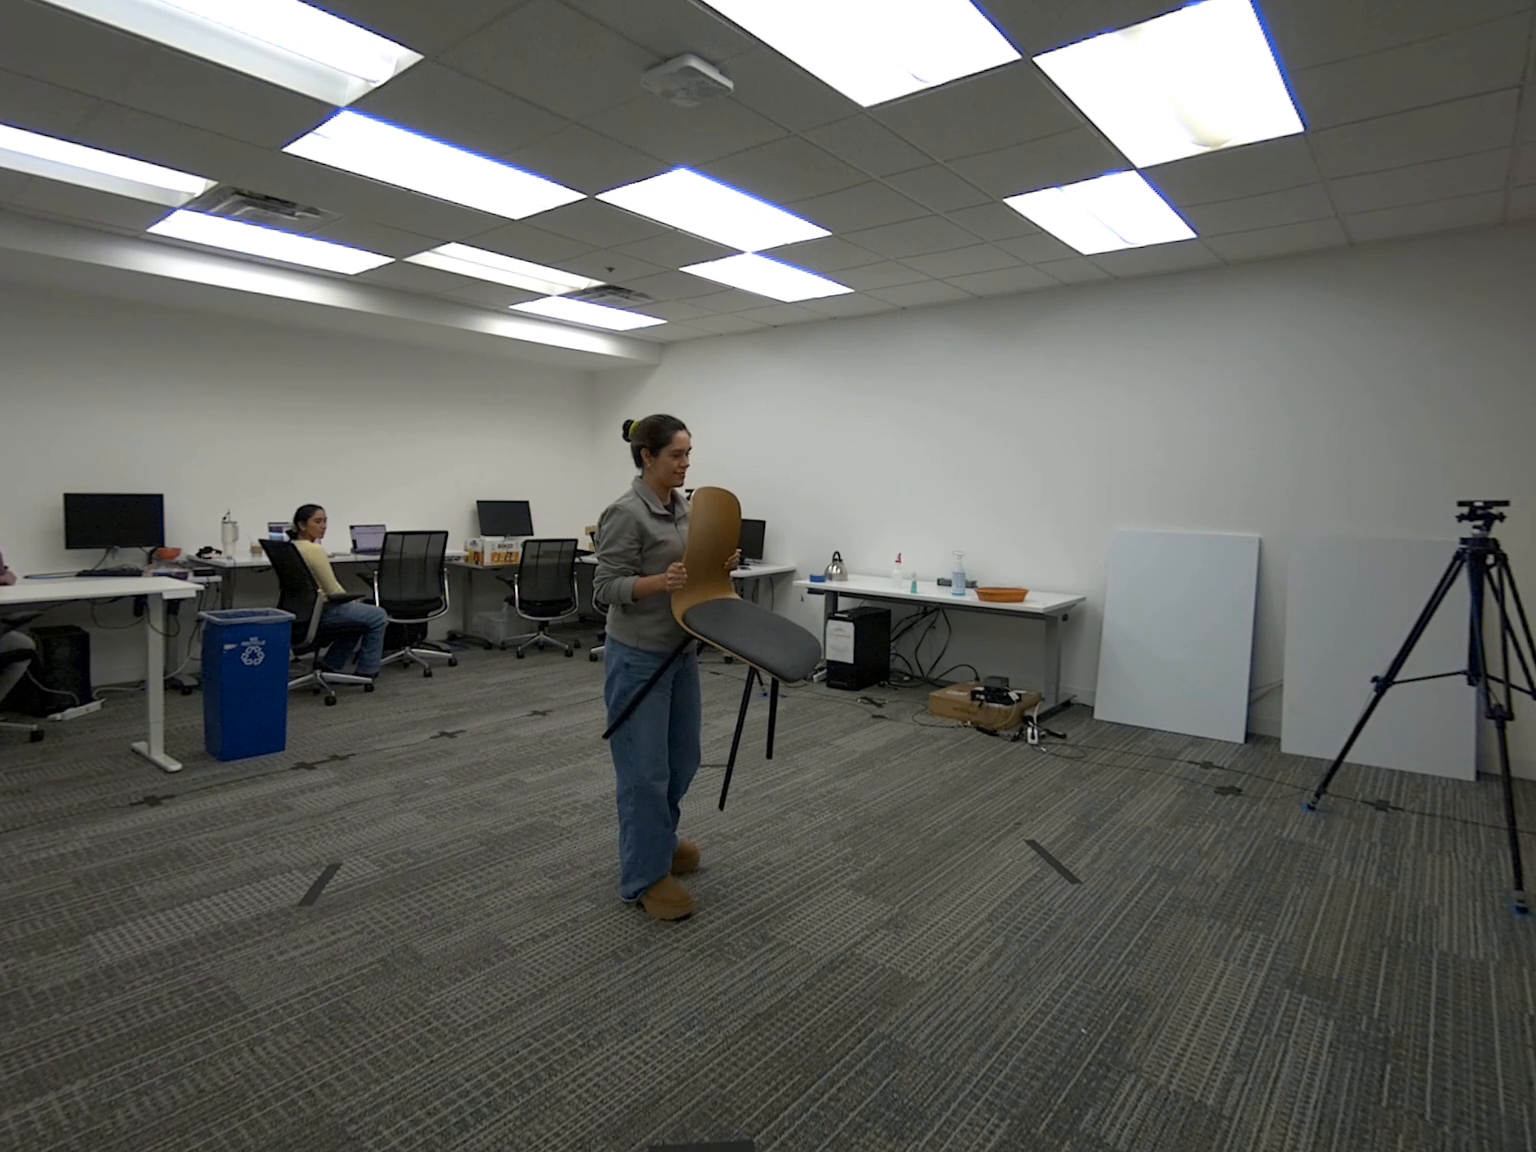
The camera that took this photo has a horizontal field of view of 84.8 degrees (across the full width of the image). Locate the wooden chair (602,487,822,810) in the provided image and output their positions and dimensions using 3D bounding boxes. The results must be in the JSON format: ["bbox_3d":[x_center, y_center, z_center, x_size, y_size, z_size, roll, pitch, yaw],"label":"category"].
[{"bbox_3d":[-0.103,0.209,2.752,0.536,0.870,0.470,21,14,18],"label":"wooden chair"}]
